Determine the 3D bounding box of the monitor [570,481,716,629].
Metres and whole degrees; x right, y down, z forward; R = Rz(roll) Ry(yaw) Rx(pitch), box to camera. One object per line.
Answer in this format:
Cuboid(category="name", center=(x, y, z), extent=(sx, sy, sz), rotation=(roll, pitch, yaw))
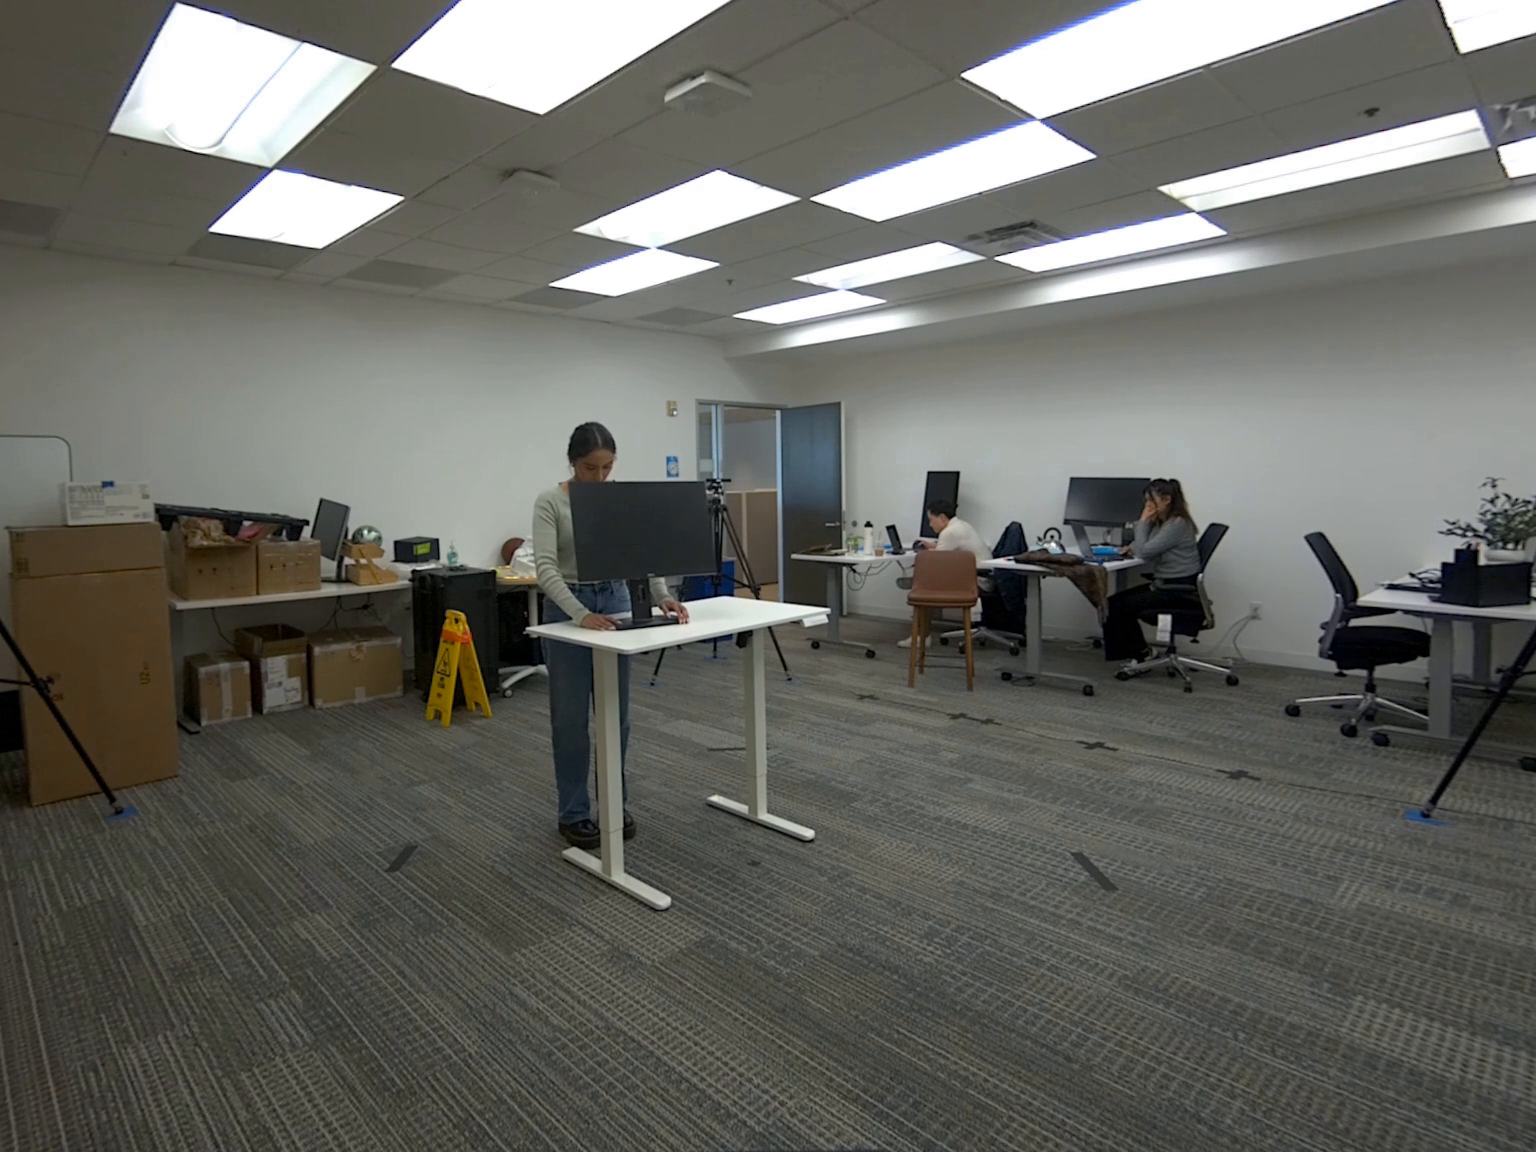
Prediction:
Cuboid(category="monitor", center=(-0.455, -0.085, 3.073), extent=(0.517, 0.513, 0.180), rotation=(-2, 6, -30))
